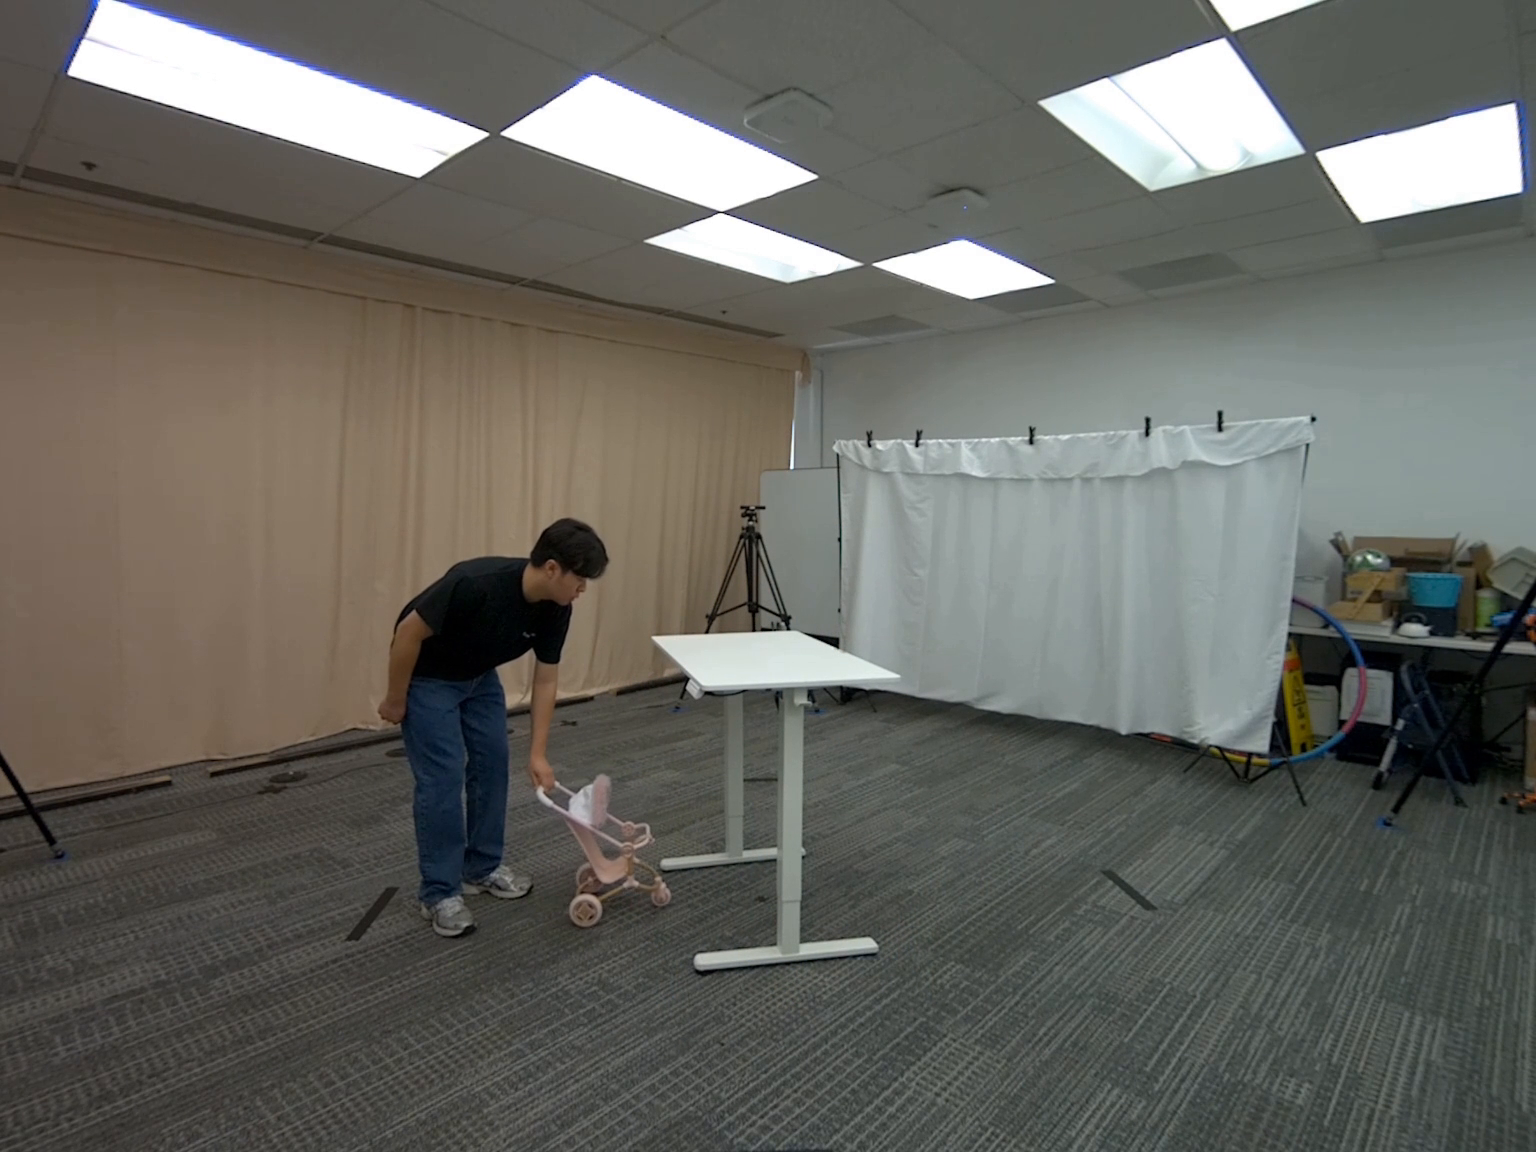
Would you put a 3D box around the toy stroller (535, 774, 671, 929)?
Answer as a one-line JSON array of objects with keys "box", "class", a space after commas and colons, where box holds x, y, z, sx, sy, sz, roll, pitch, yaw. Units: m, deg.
[{"box": [-0.552, 0.928, 2.906, 0.341, 0.533, 0.282, -15, 3, 0], "class": "toy stroller"}]
